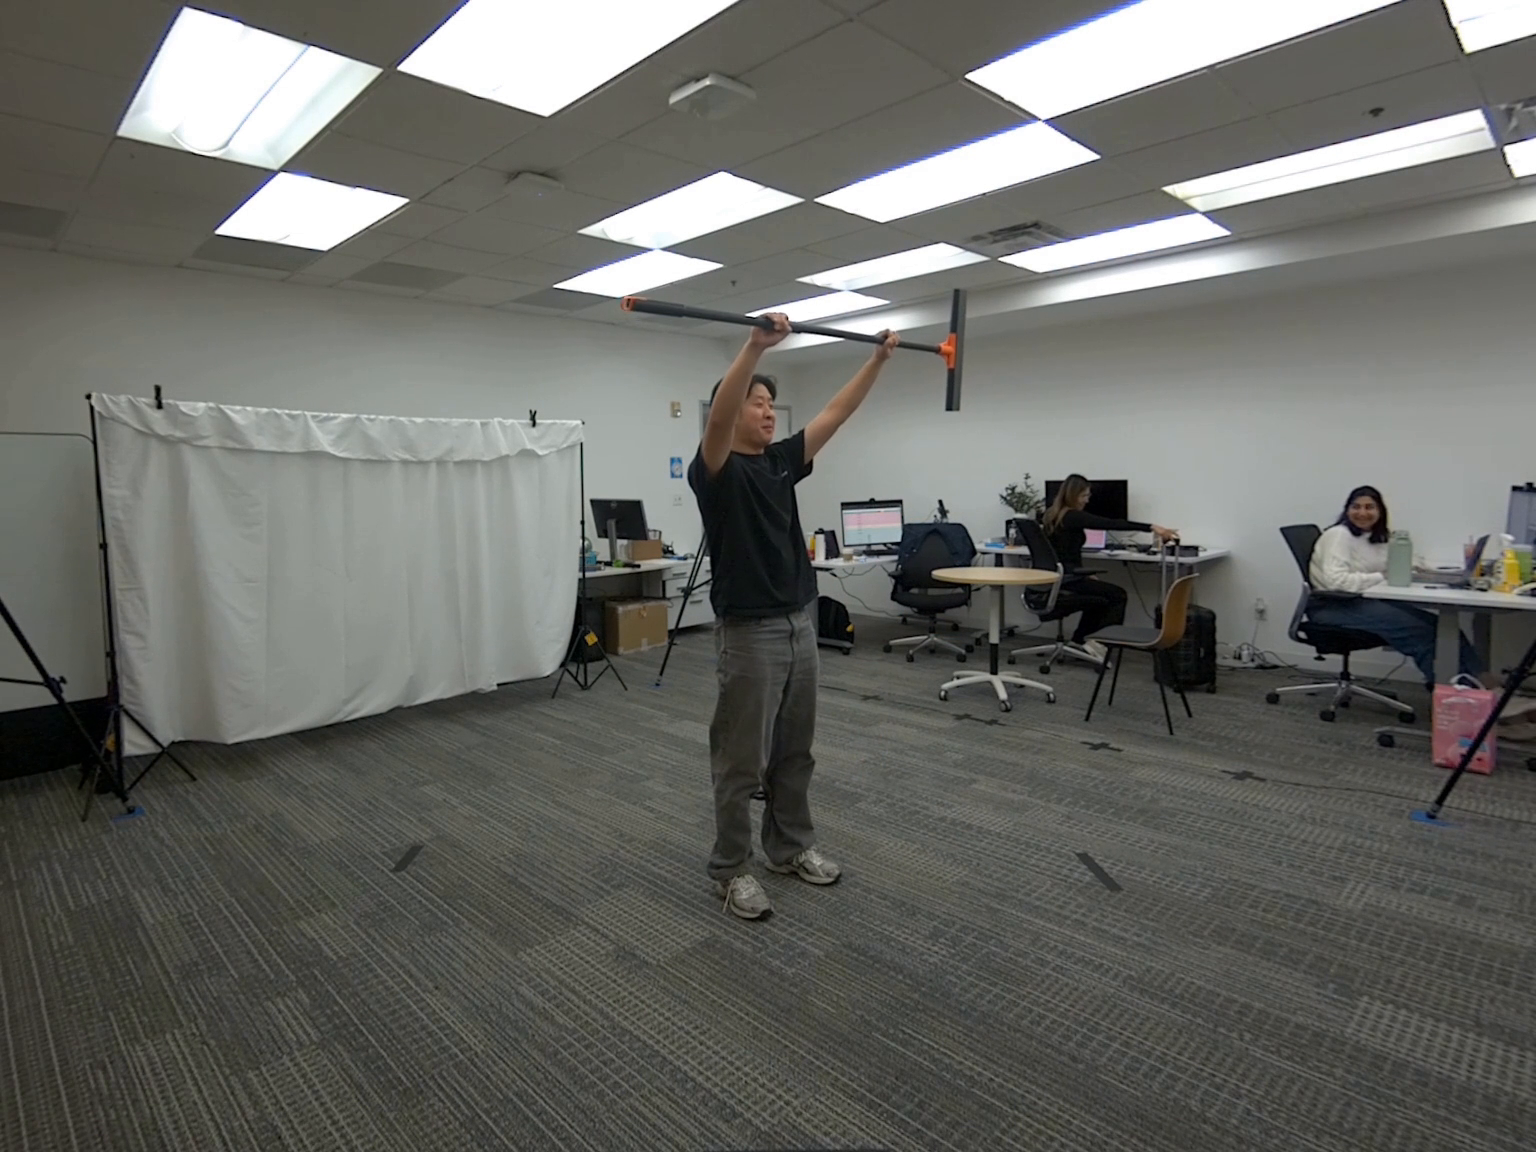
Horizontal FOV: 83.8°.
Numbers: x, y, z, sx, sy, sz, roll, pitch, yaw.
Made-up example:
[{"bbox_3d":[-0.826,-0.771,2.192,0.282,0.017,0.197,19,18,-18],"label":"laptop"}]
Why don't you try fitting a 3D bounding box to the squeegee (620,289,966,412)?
[{"bbox_3d":[0.180,-0.735,2.563,0.055,0.434,1.499,8,12,43],"label":"squeegee"}]
